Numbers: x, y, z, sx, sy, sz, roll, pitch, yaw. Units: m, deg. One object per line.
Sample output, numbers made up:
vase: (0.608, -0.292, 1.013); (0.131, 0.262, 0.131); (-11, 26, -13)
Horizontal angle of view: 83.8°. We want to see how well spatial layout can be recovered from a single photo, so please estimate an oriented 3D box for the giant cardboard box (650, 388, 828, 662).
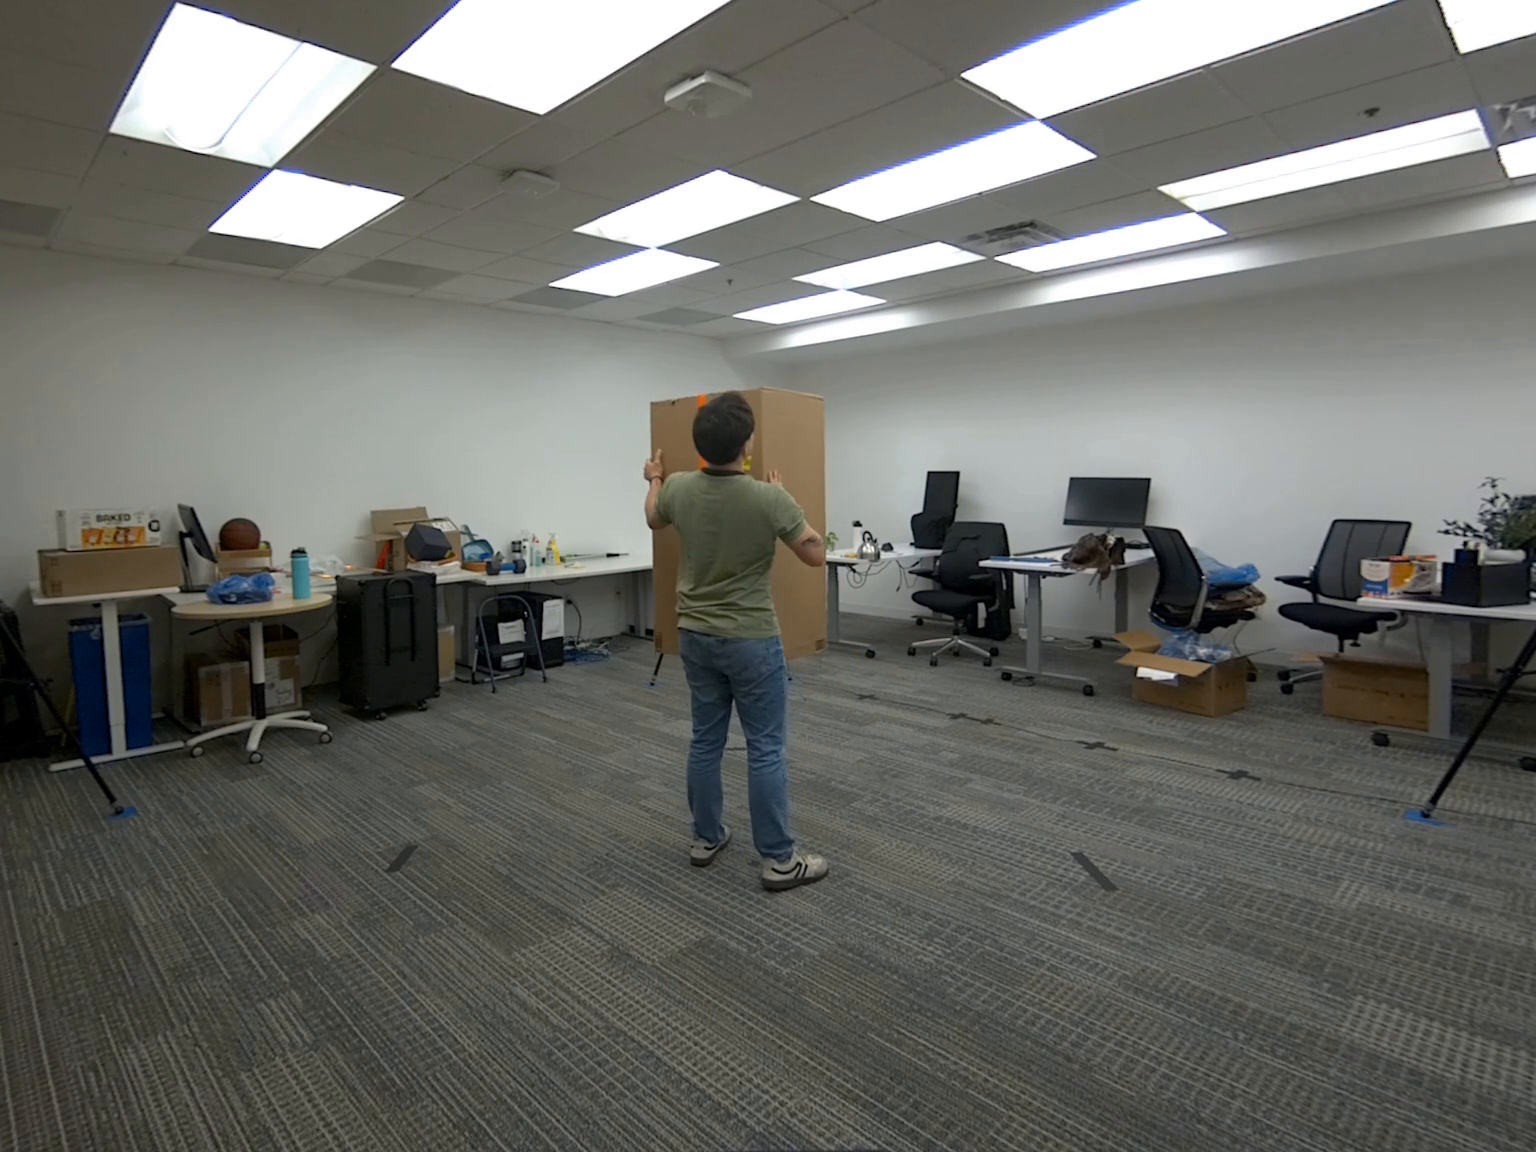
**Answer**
giant cardboard box: (-0.118, -0.208, 3.460); (0.594, 1.024, 0.415); (1, 3, 38)
